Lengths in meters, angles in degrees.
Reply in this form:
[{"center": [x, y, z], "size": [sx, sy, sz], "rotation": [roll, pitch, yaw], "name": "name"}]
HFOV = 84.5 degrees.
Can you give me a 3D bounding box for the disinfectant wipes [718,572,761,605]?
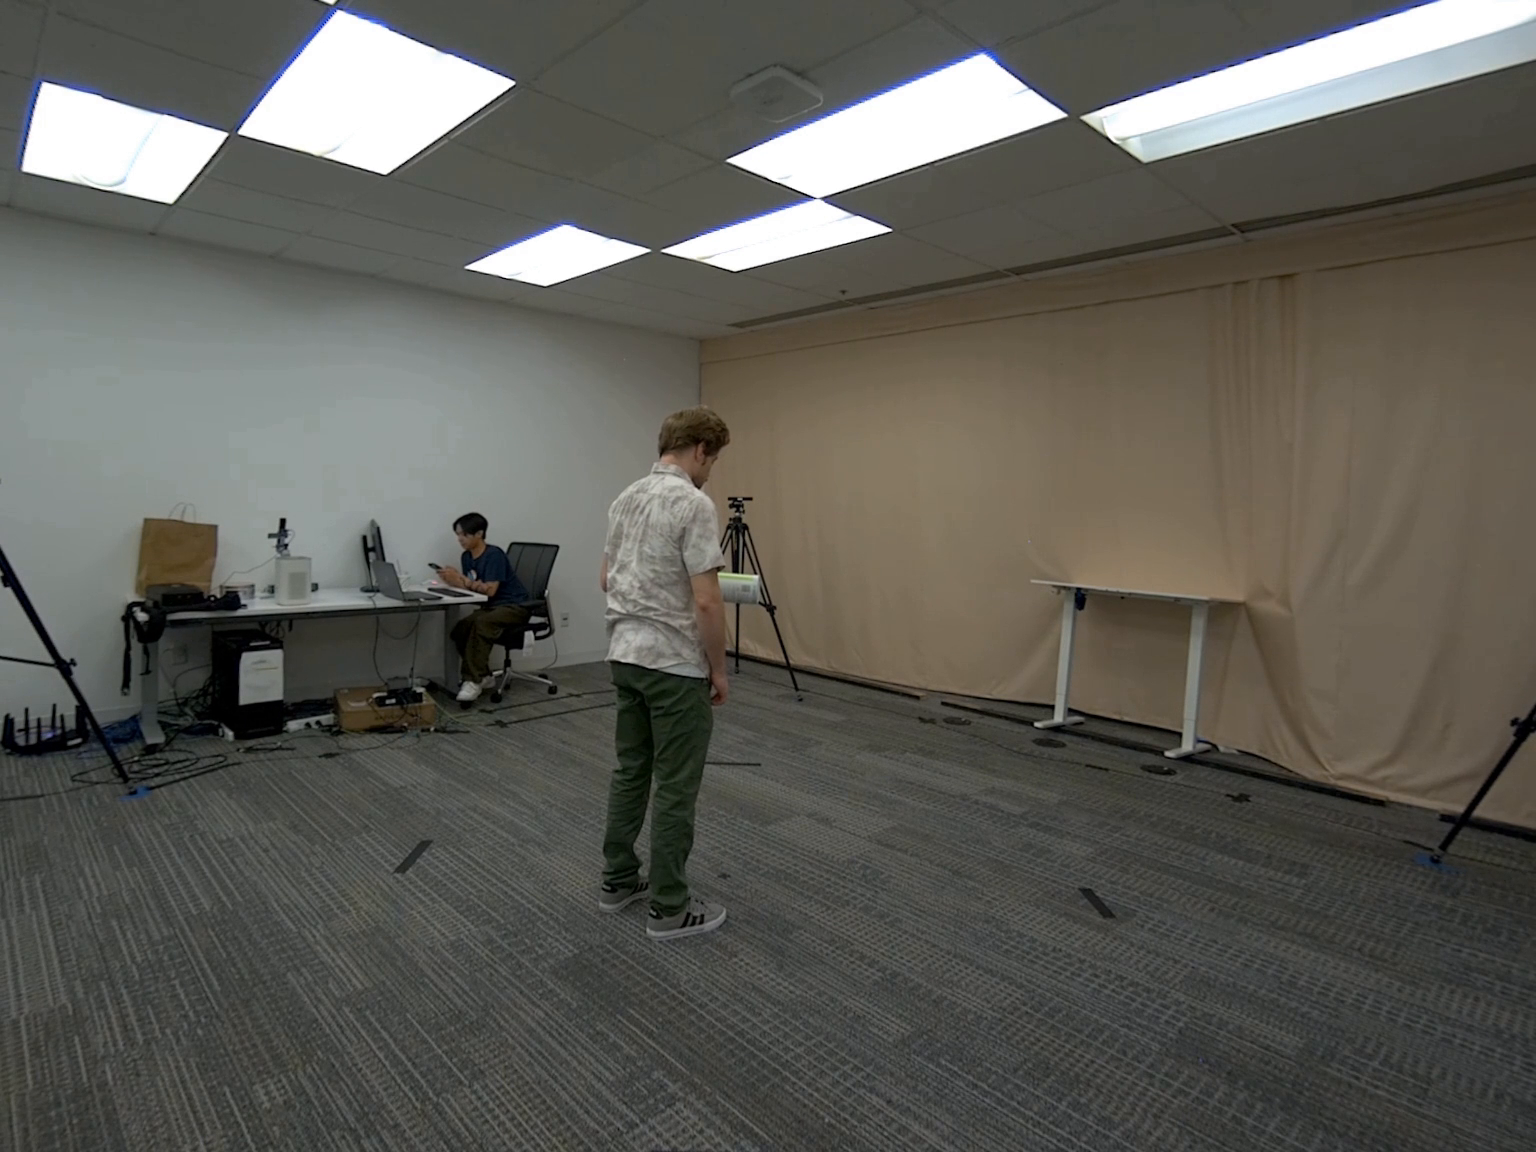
[{"center": [-0.147, 0.039, 3.078], "size": [0.220, 0.117, 0.117], "rotation": [6, 5, 13], "name": "disinfectant wipes"}]
